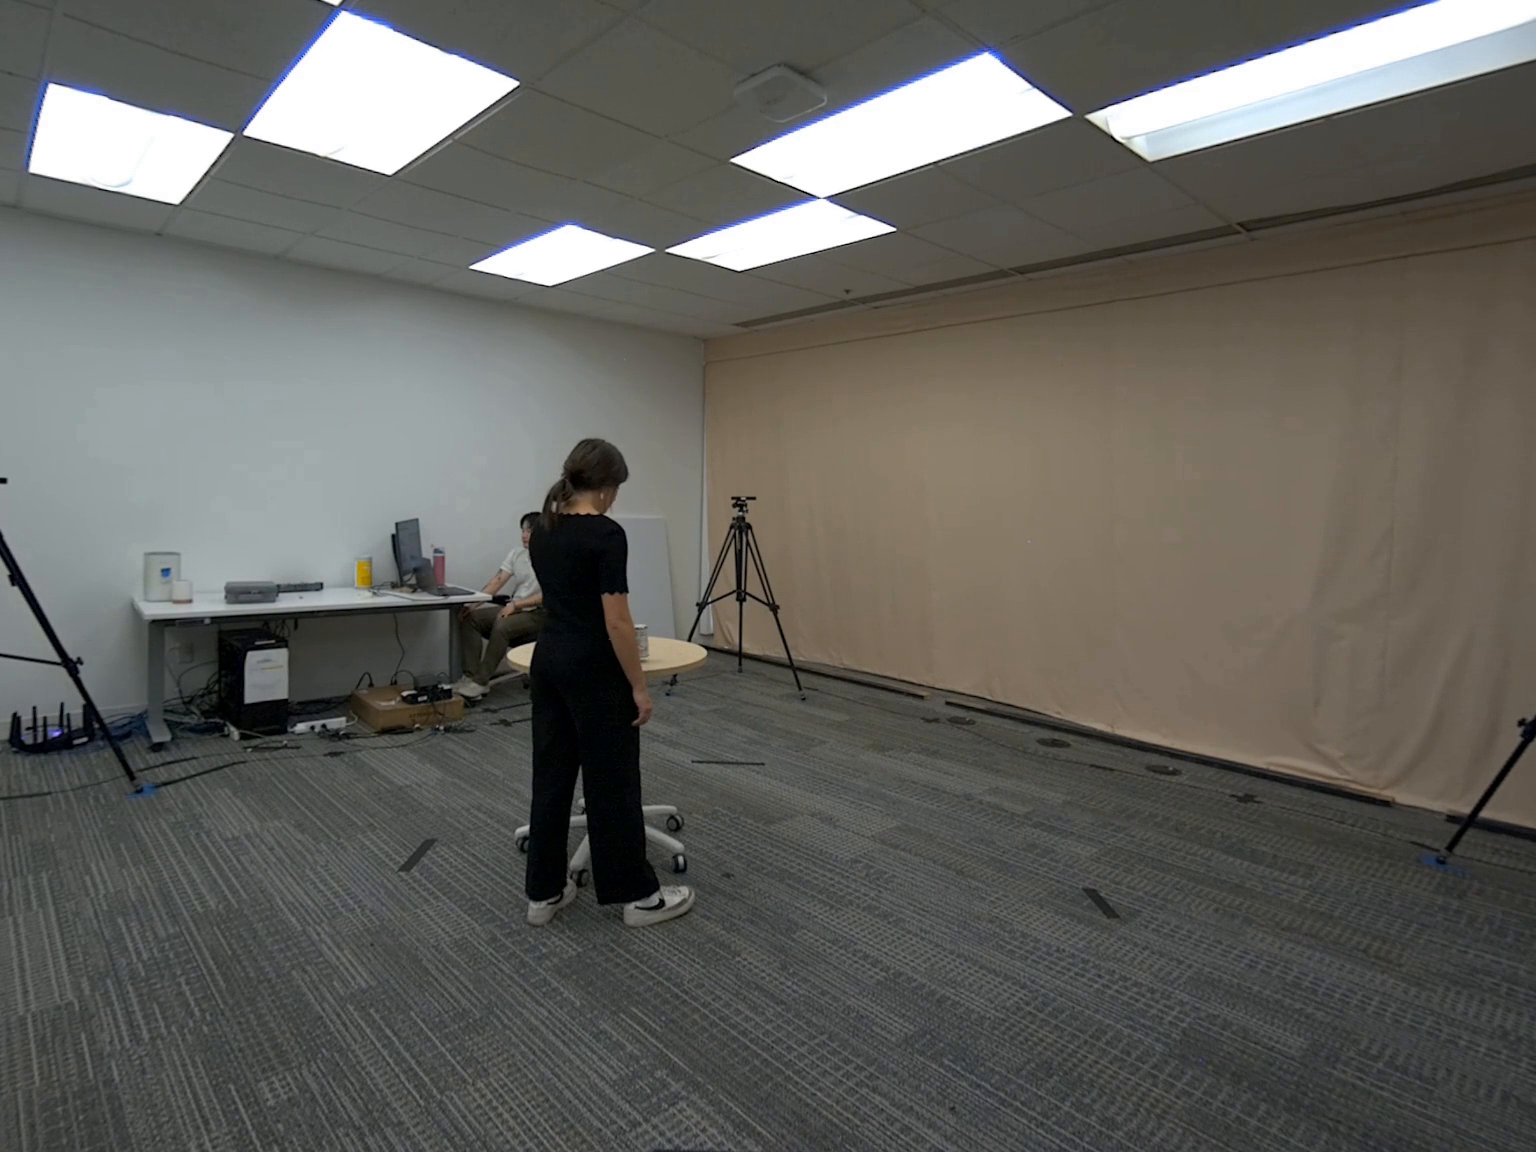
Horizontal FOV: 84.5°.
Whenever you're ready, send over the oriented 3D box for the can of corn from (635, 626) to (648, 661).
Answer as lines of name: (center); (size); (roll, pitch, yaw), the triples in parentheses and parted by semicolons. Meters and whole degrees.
can of corn: (-0.482, 0.244, 3.090); (0.074, 0.111, 0.074); (-1, 3, -1)
